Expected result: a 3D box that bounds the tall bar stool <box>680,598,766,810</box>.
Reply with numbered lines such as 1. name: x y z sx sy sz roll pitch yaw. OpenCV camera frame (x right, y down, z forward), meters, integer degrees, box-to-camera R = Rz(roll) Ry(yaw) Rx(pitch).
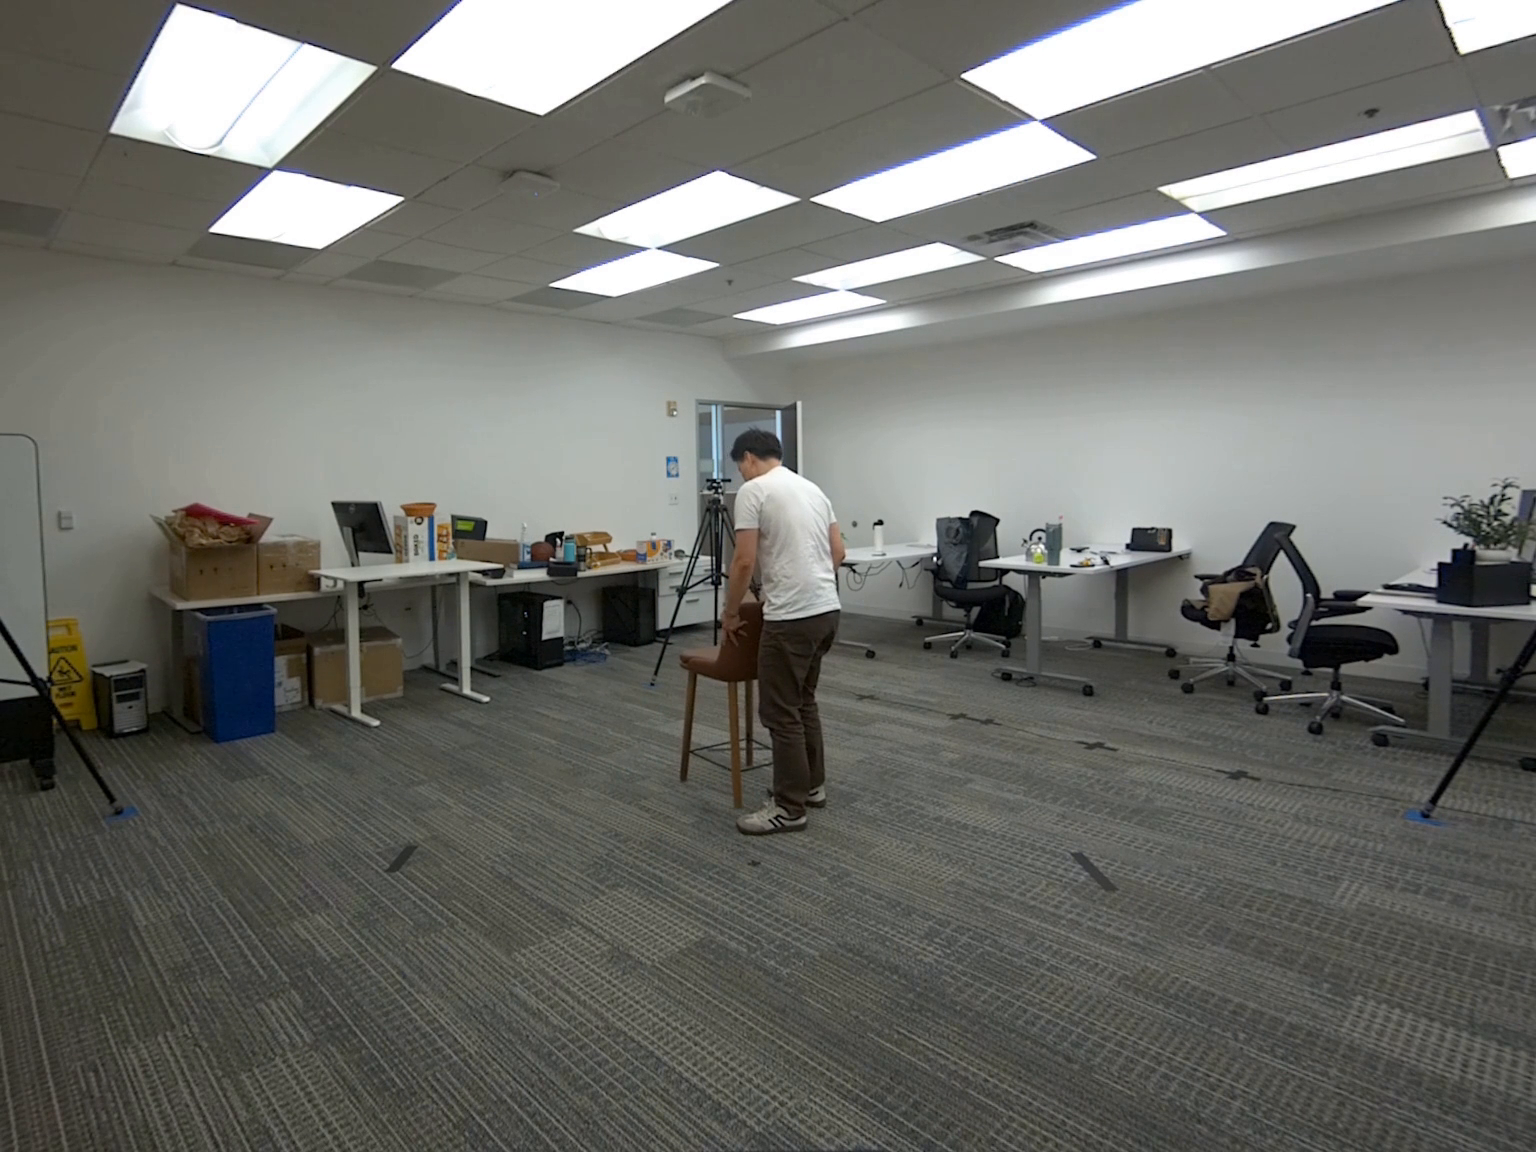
1. tall bar stool: -0.123 0.522 3.880 0.445 0.885 0.482 -3 7 -35
